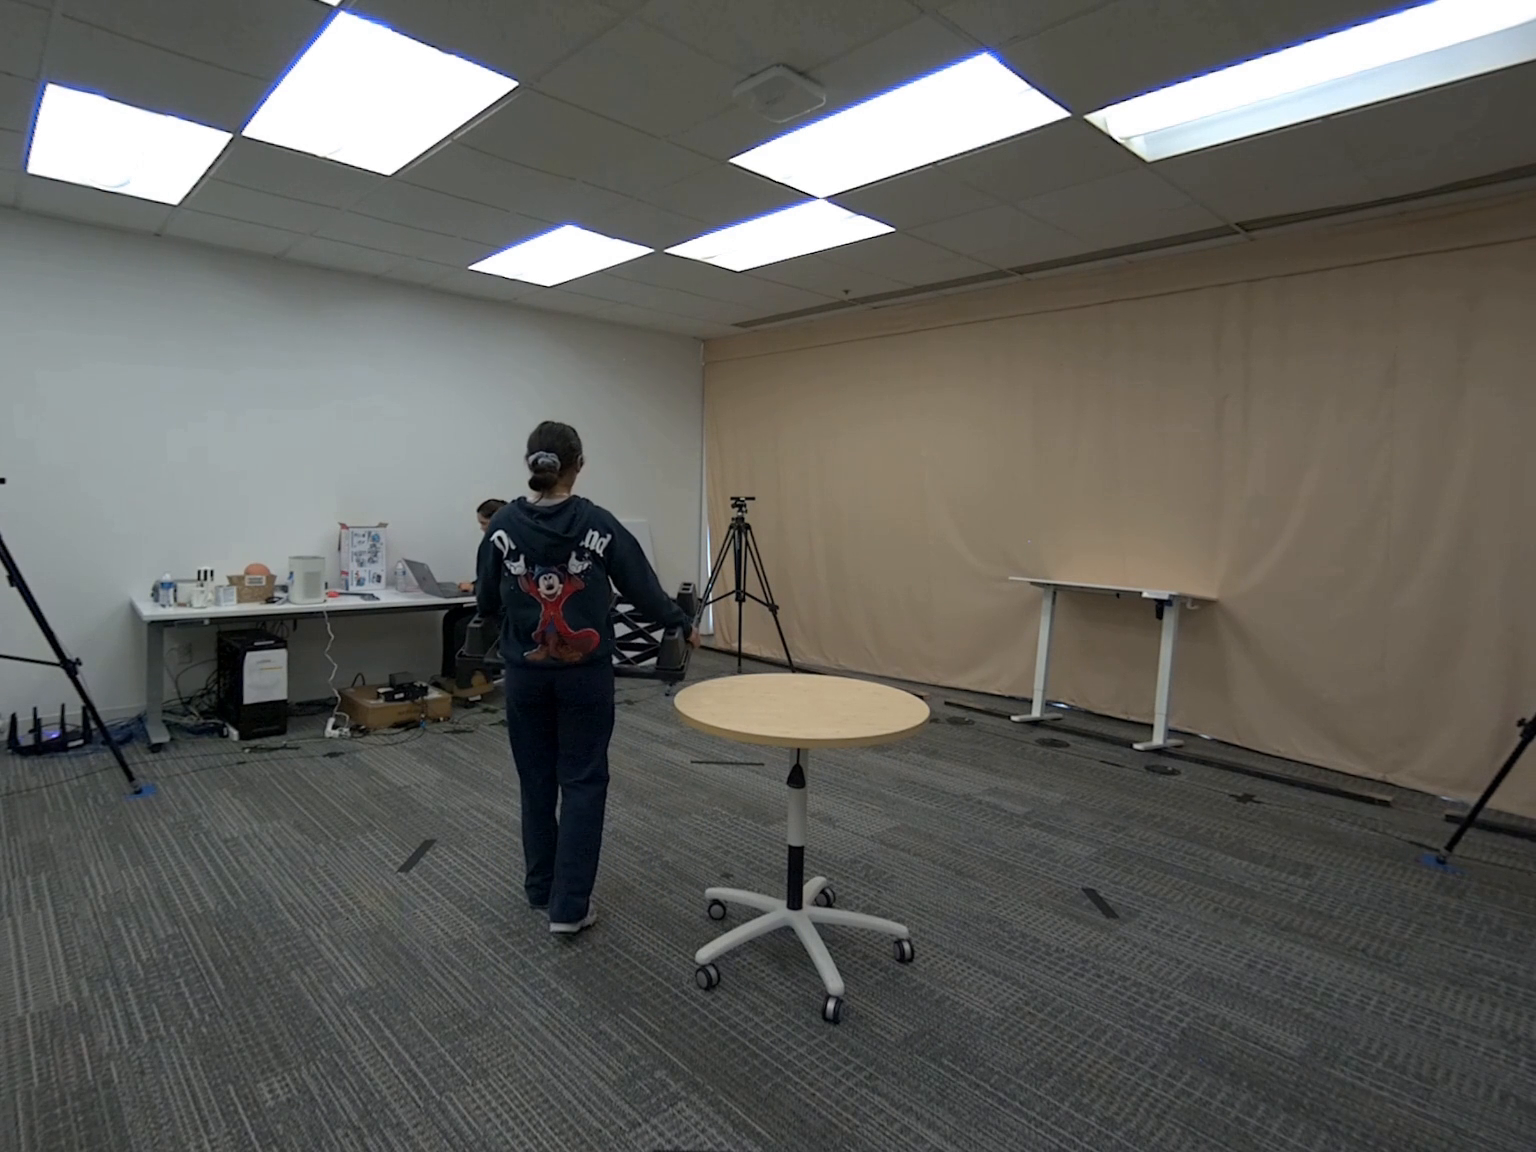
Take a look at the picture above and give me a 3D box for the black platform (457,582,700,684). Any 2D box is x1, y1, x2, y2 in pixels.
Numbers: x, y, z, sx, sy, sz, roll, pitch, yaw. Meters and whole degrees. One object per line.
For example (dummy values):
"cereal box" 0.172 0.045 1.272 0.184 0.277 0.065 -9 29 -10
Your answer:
"black platform" -0.662 0.162 3.127 0.807 0.141 0.613 3 24 2
